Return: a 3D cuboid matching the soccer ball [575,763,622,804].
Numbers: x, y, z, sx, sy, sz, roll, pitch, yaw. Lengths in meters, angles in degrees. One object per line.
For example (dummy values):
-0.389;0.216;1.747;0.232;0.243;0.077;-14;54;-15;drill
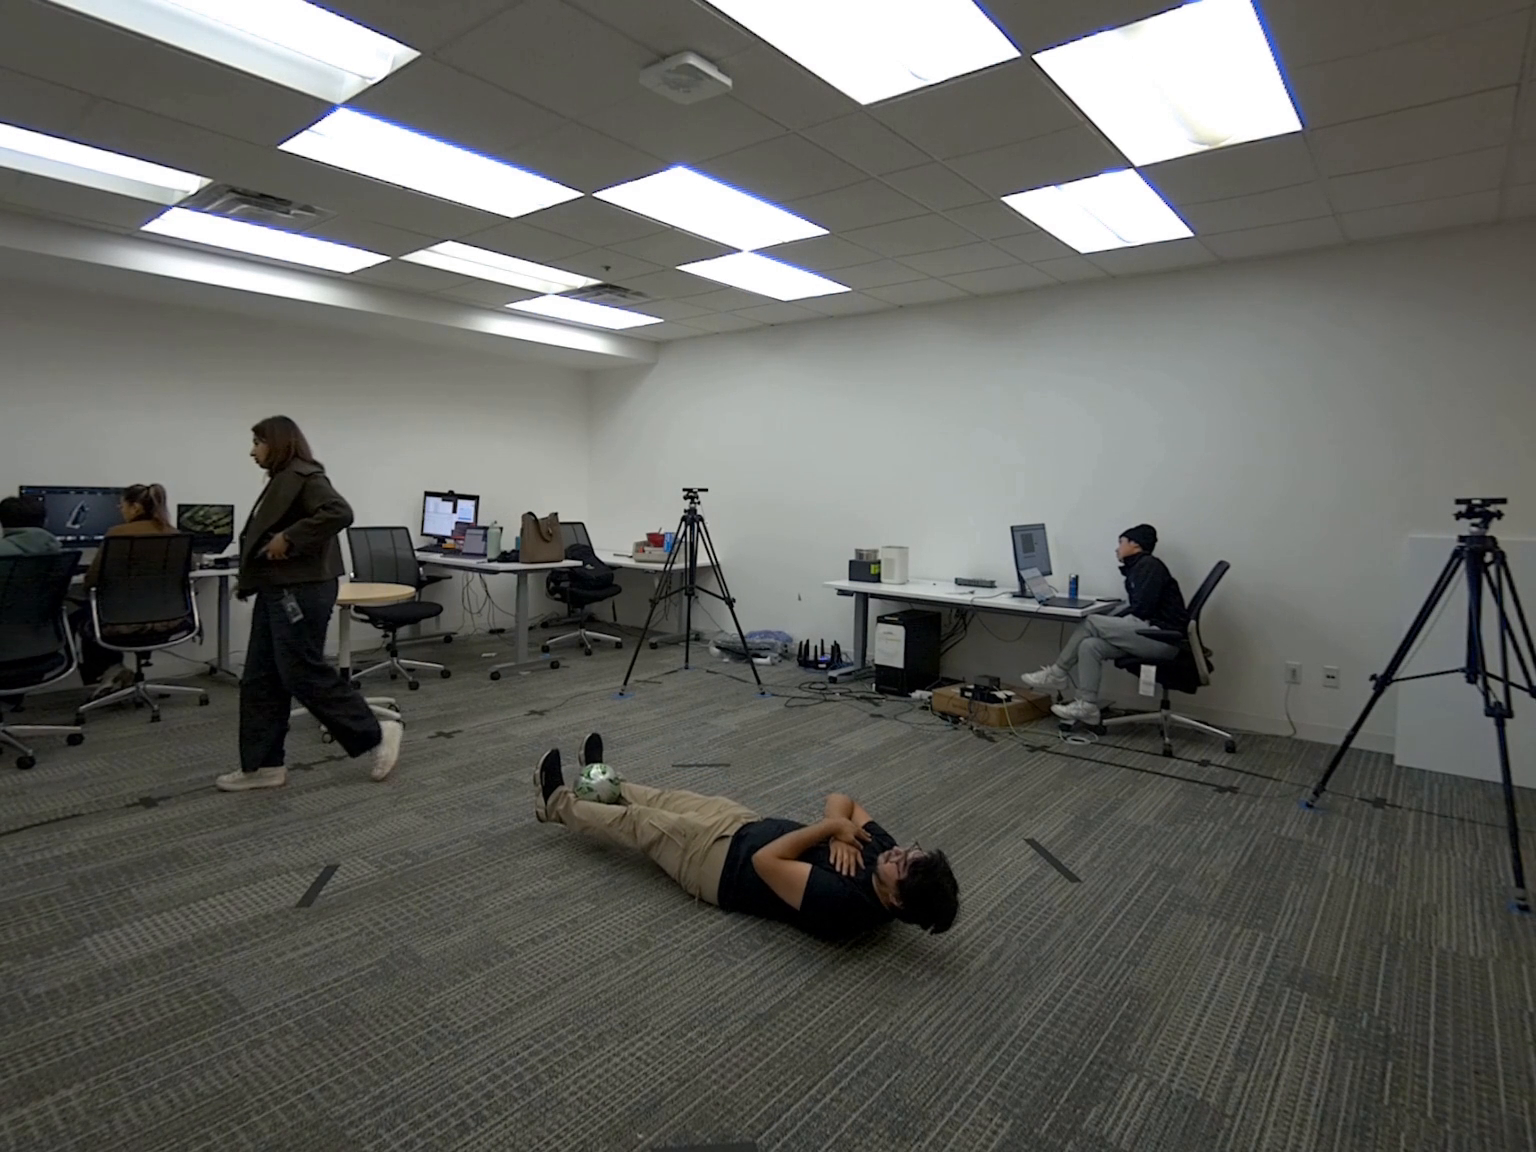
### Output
-0.696;0.835;3.376;0.187;0.187;0.188;0;4;-2;soccer ball
